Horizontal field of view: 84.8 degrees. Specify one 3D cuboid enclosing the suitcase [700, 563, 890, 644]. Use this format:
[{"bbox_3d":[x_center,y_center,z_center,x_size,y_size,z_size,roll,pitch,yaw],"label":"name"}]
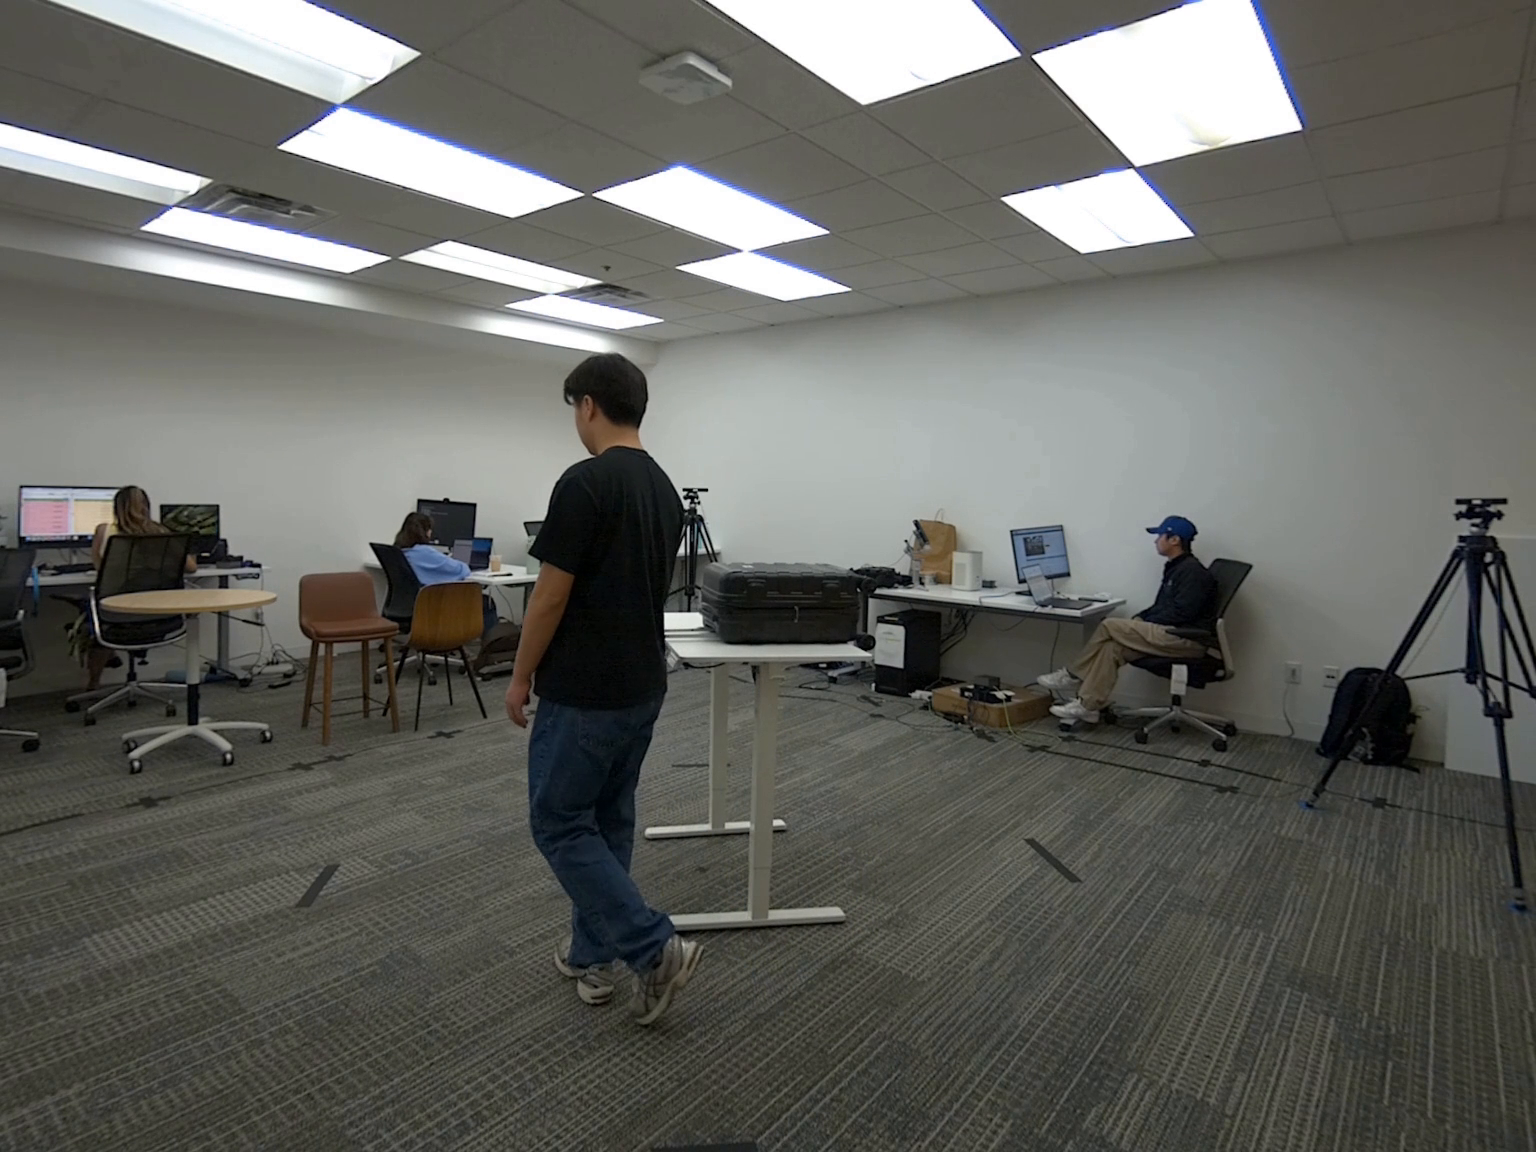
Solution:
[{"bbox_3d":[-0.152,0.085,2.887,0.963,0.256,0.391,2,5,-15],"label":"suitcase"}]
